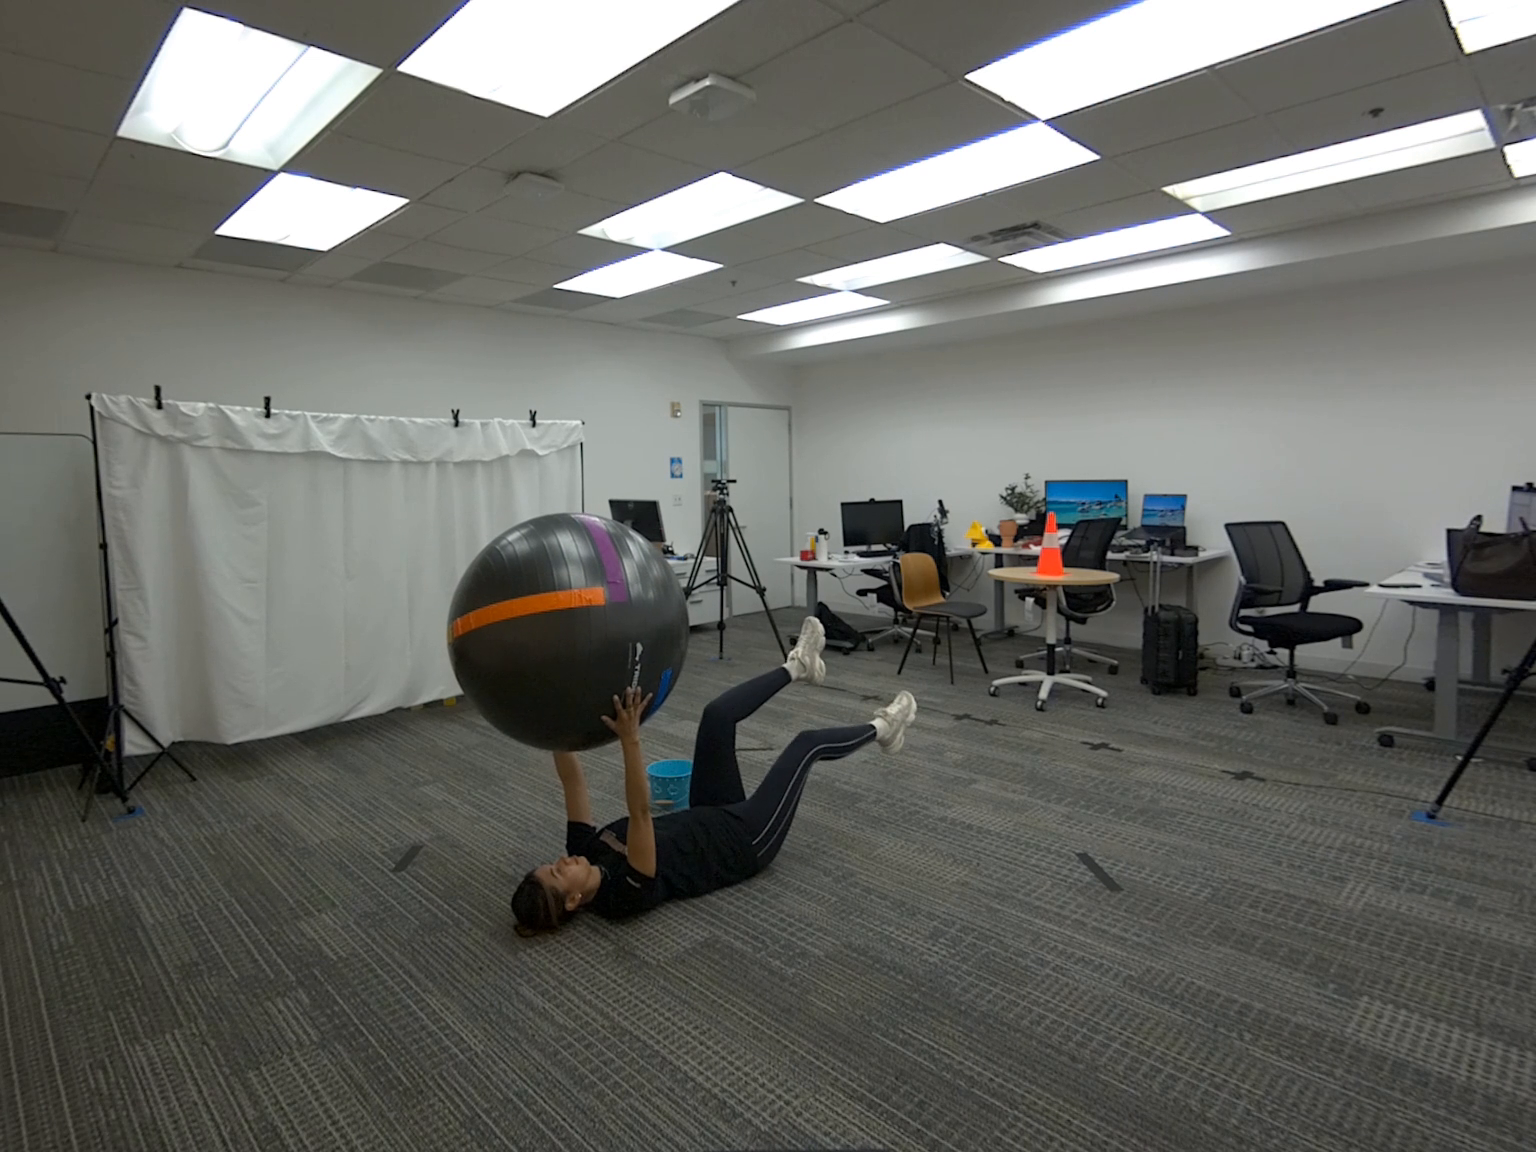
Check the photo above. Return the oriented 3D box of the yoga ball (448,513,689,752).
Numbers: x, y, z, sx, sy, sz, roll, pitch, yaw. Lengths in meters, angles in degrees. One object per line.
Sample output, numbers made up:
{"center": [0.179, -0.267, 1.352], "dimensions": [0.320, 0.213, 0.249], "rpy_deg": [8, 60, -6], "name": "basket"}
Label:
{"center": [-0.632, 0.177, 2.740], "dimensions": [0.757, 0.757, 0.759], "rpy_deg": [0, 1, -2], "name": "yoga ball"}
